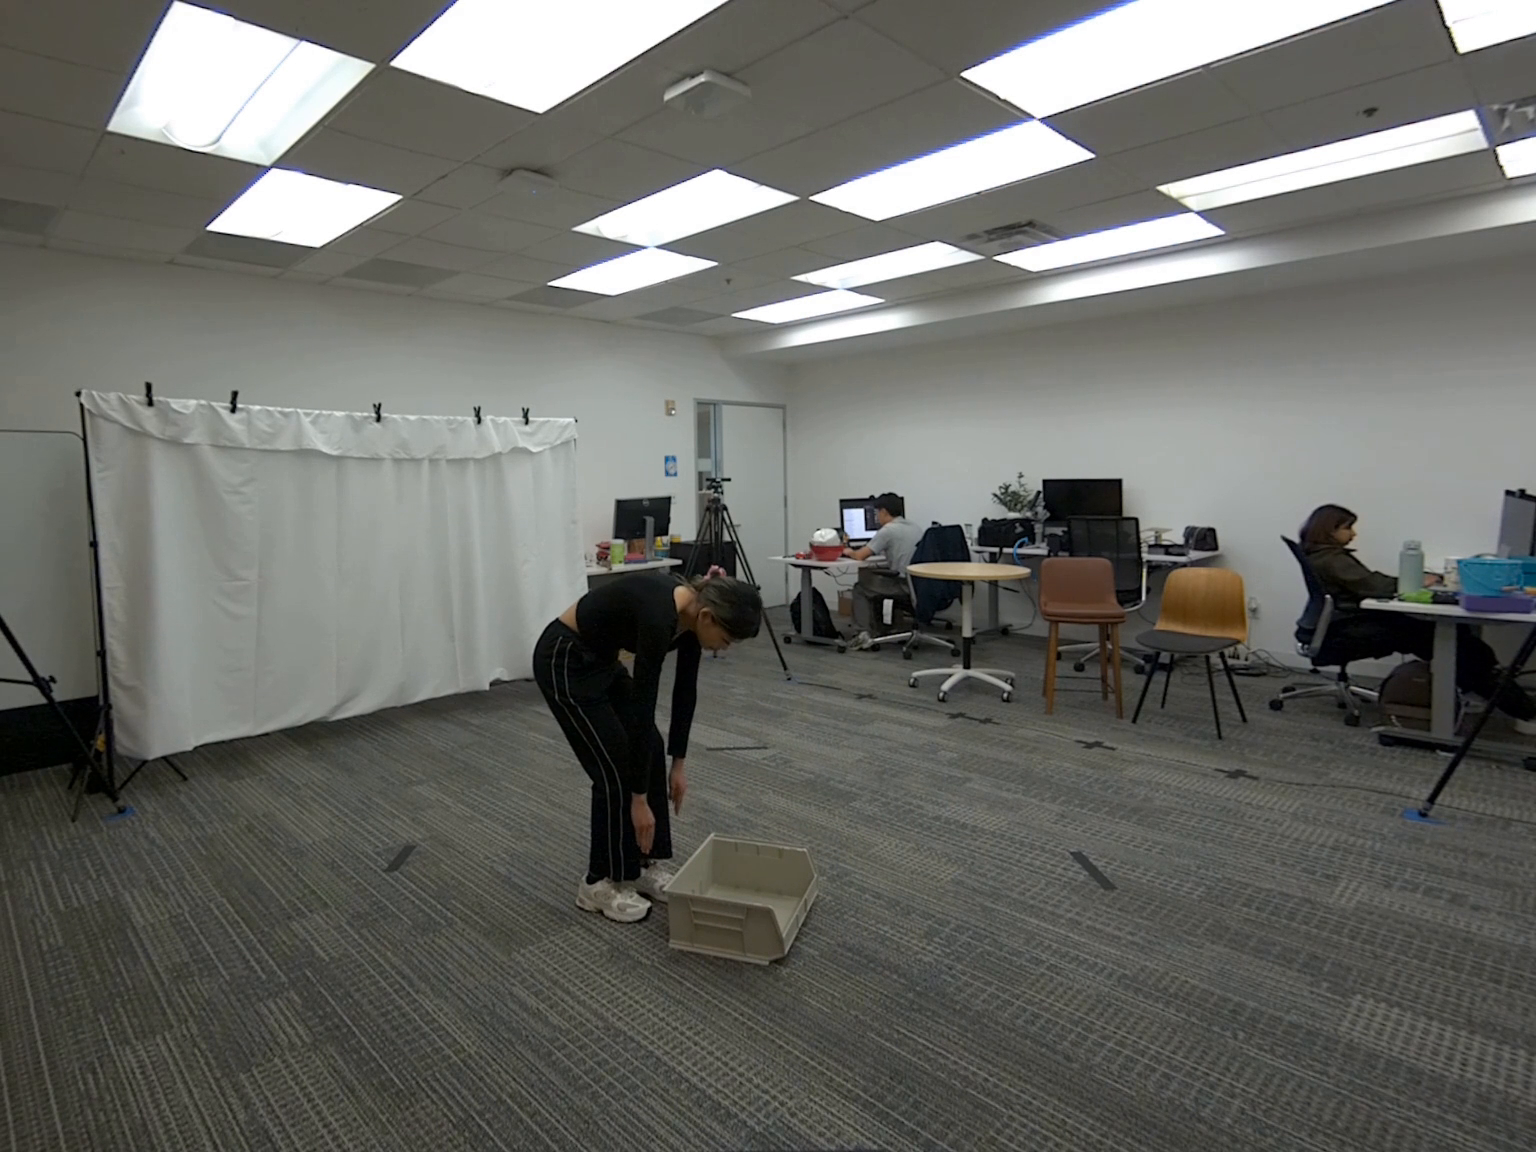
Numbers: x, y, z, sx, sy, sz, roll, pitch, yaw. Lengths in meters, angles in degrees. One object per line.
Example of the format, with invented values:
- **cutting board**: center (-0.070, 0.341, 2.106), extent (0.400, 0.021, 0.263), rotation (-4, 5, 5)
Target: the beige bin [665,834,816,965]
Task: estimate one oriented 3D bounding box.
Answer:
- **beige bin**: center (-0.068, 1.004, 2.681), extent (0.384, 0.188, 0.417), rotation (0, 7, 18)
